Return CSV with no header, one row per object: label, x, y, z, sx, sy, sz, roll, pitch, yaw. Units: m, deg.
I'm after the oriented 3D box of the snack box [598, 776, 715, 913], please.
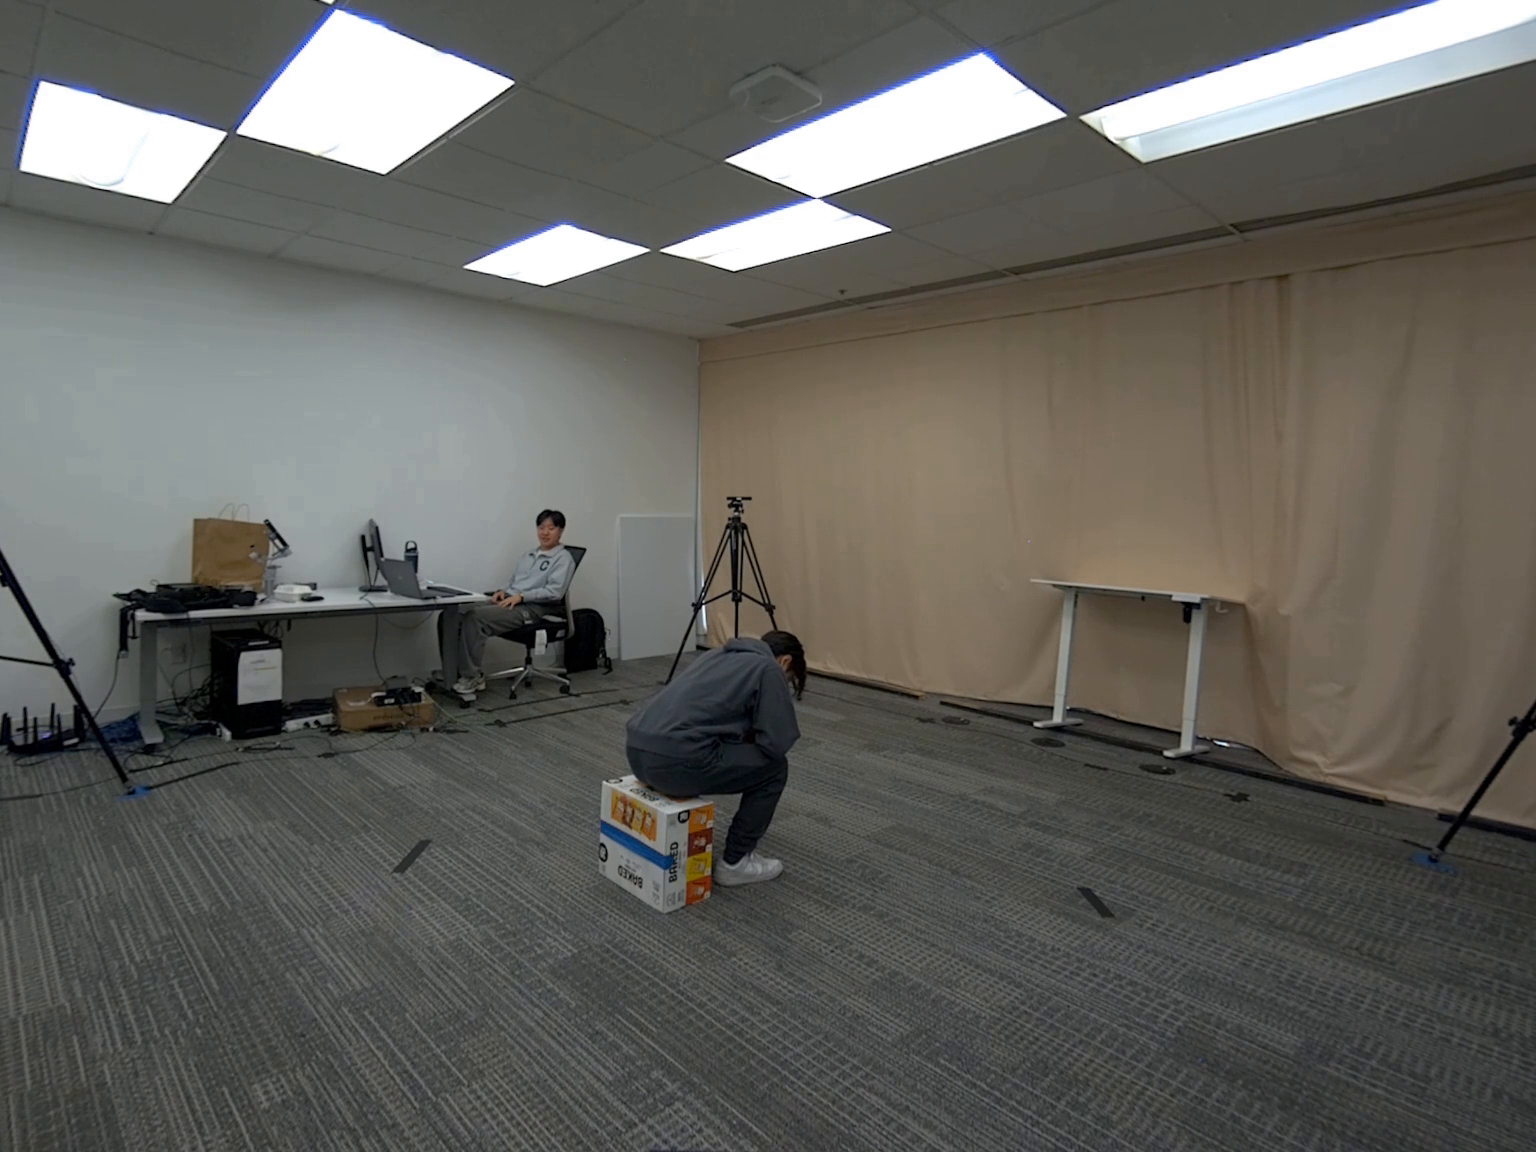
snack box,-0.412,0.938,3.009,0.201,0.340,0.415,0,4,-43
